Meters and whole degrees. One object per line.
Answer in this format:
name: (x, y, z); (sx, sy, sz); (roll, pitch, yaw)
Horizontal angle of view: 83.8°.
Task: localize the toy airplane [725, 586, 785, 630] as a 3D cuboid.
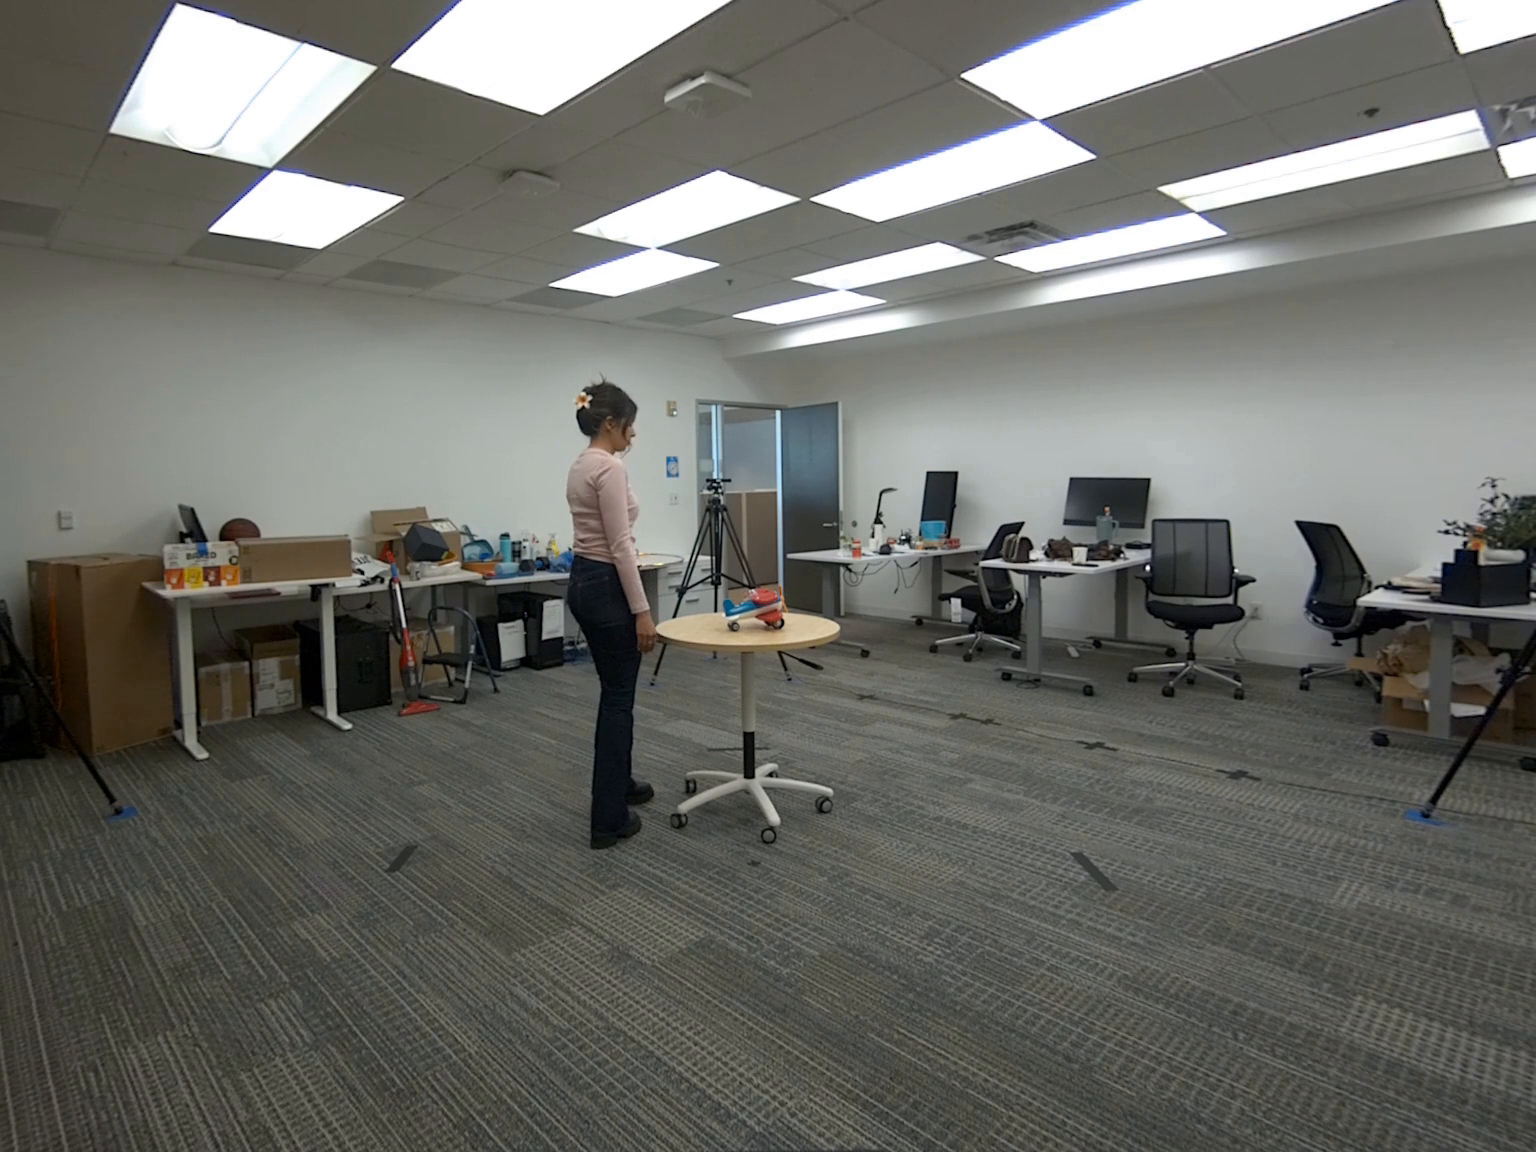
toy airplane: (-0.052, 0.142, 3.480); (0.252, 0.156, 0.259); (-5, 7, -44)
